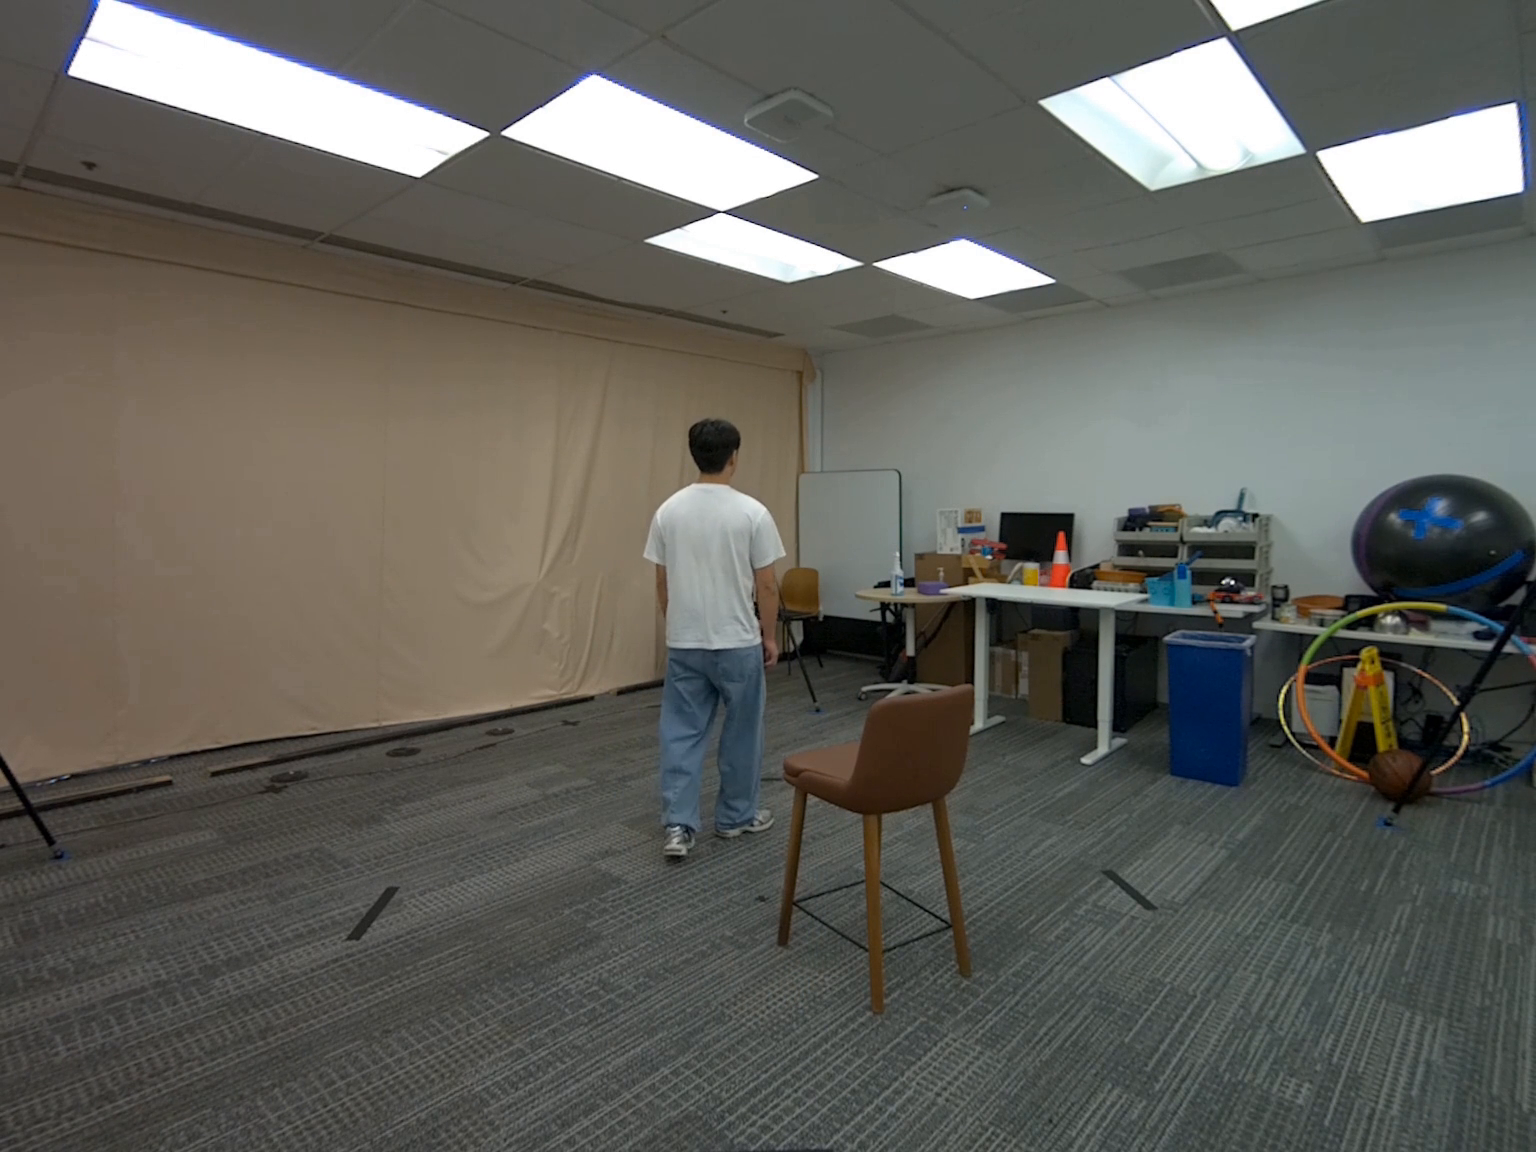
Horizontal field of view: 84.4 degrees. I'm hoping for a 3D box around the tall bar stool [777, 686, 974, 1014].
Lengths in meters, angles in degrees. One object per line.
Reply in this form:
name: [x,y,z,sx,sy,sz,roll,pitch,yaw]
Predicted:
tall bar stool: [0.333,0.742,2.561,0.443,0.887,0.482,-2,6,-34]
